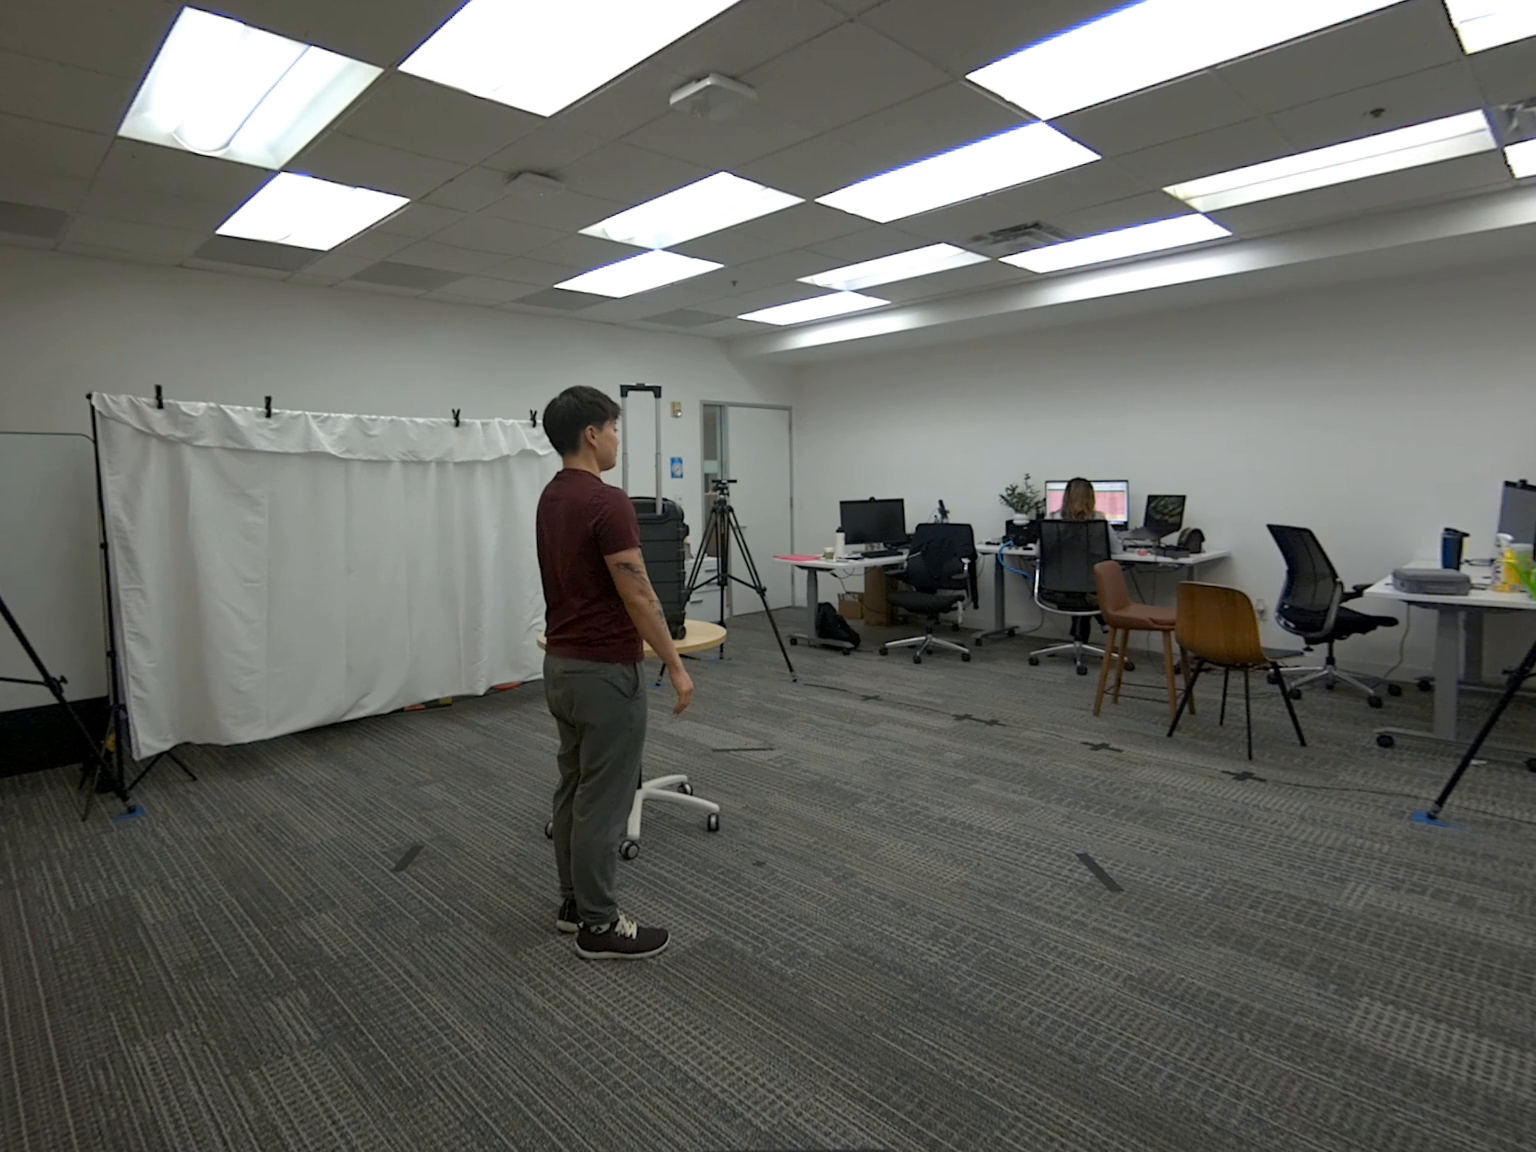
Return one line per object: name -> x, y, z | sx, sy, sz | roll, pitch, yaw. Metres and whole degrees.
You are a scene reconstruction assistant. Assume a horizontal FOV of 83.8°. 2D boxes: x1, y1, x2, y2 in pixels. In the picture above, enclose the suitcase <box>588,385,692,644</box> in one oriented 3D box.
suitcase -> -0.514, -0.241, 3.381 | 0.380, 0.978, 0.260 | 0, 1, -10
